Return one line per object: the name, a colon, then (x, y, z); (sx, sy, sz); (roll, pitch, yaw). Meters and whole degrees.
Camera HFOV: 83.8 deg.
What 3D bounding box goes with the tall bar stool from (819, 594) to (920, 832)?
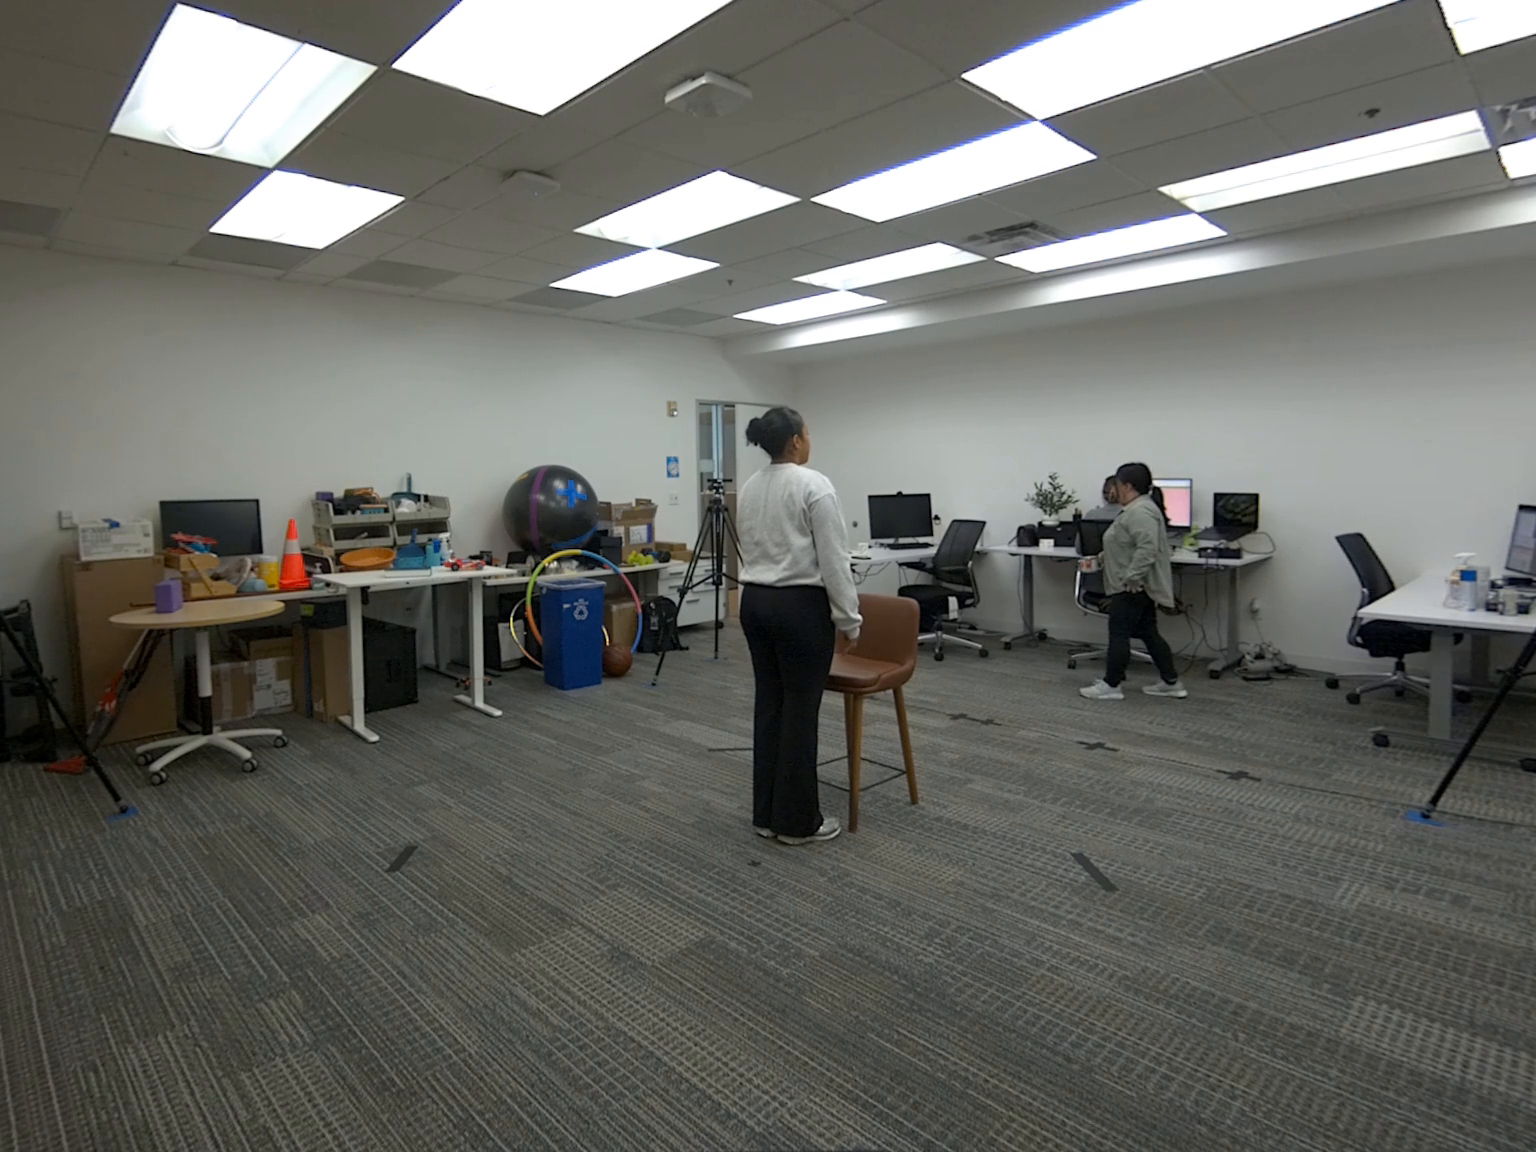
tall bar stool: (0.355, 0.538, 3.628); (0.454, 0.887, 0.471); (-2, 5, -42)
